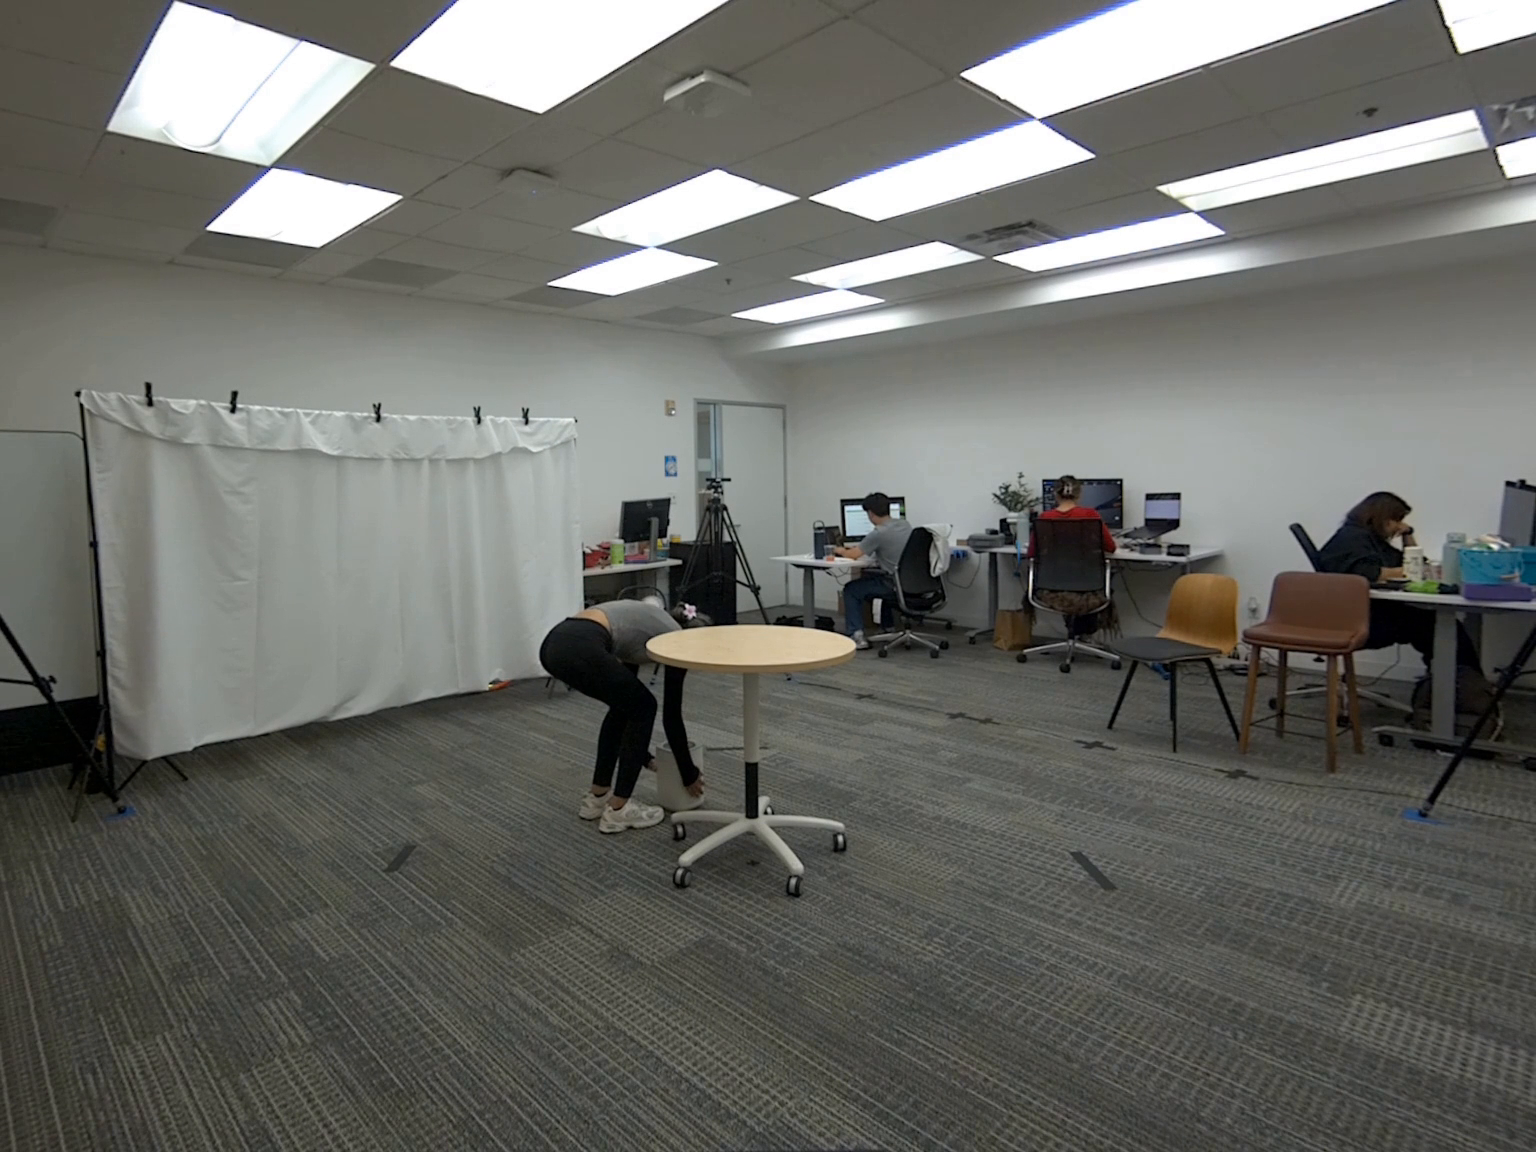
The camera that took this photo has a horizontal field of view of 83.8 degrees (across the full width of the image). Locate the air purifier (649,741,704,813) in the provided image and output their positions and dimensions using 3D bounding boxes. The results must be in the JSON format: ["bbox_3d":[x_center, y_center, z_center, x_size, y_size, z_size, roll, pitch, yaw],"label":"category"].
[{"bbox_3d":[-0.376,0.856,3.664,0.176,0.265,0.167,2,4,42],"label":"air purifier"}]
